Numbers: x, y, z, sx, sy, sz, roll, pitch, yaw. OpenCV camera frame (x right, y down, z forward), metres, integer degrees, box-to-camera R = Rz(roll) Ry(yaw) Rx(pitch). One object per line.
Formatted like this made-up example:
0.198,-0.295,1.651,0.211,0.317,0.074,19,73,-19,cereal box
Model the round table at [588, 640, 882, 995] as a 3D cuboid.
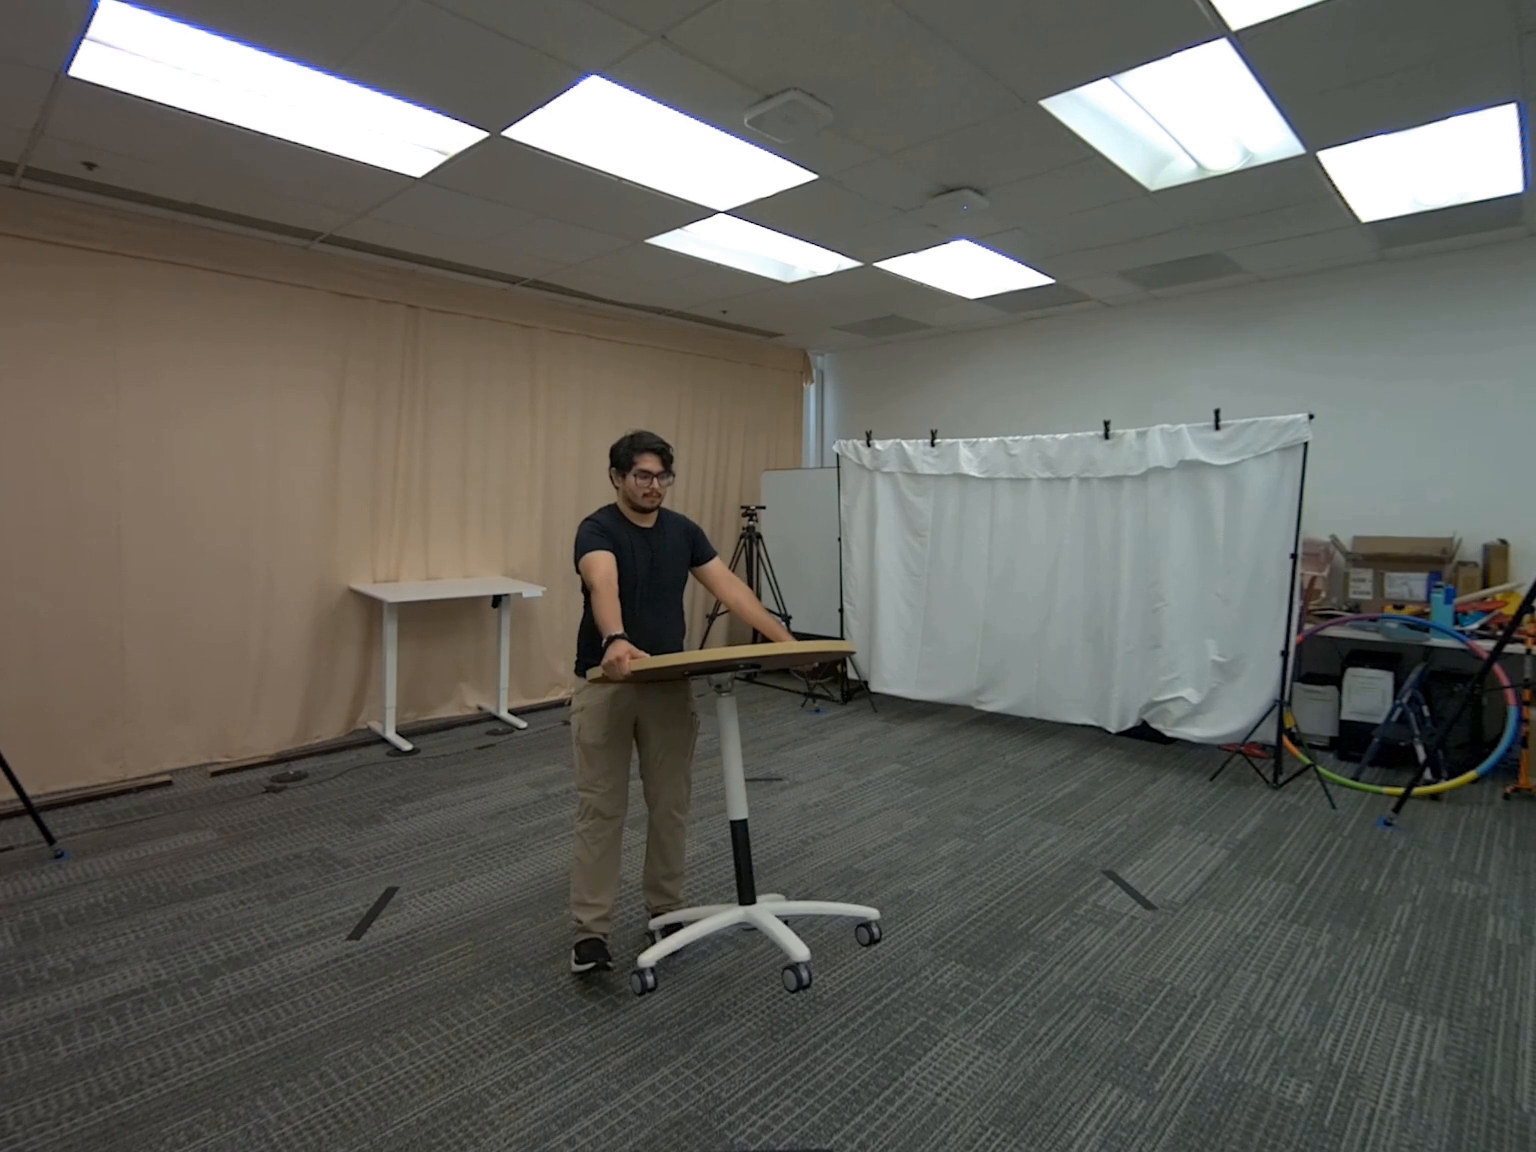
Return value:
-0.072,0.634,2.330,0.783,0.792,0.781,-6,-10,-3,round table
